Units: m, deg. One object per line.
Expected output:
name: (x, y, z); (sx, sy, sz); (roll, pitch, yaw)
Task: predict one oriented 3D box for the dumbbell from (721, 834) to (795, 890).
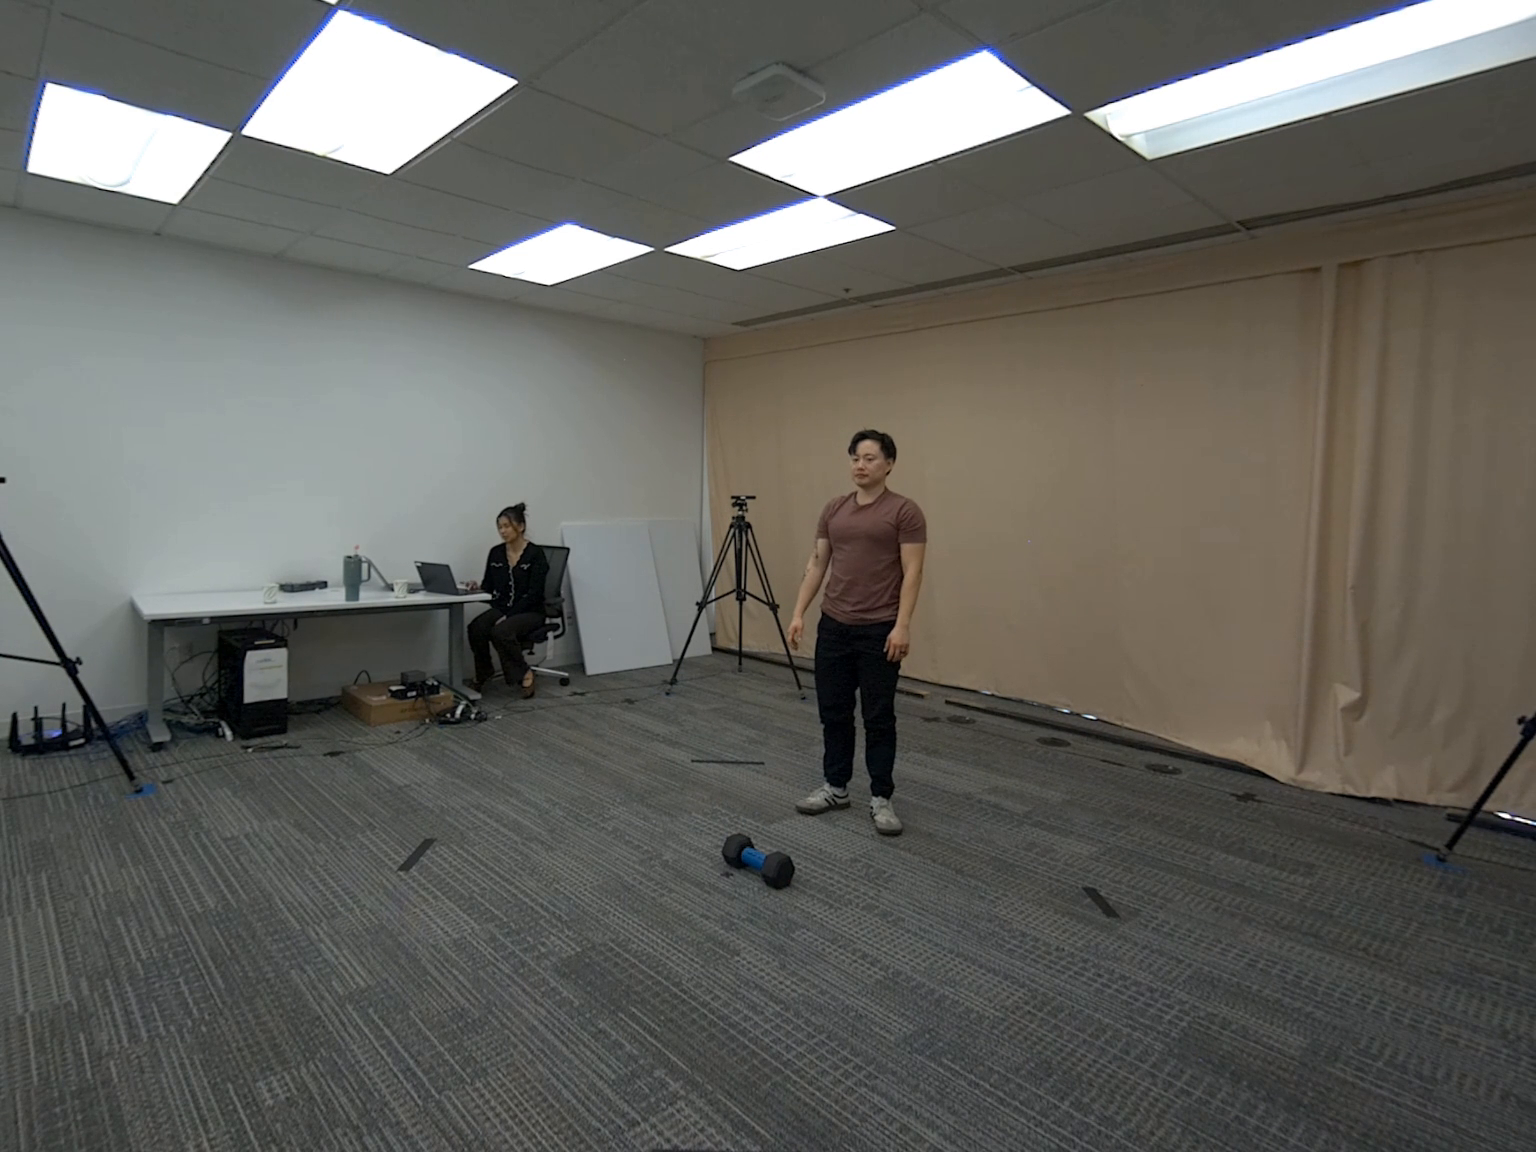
dumbbell: (-0.047, 1.049, 3.105); (0.301, 0.123, 0.105); (7, -21, 47)
